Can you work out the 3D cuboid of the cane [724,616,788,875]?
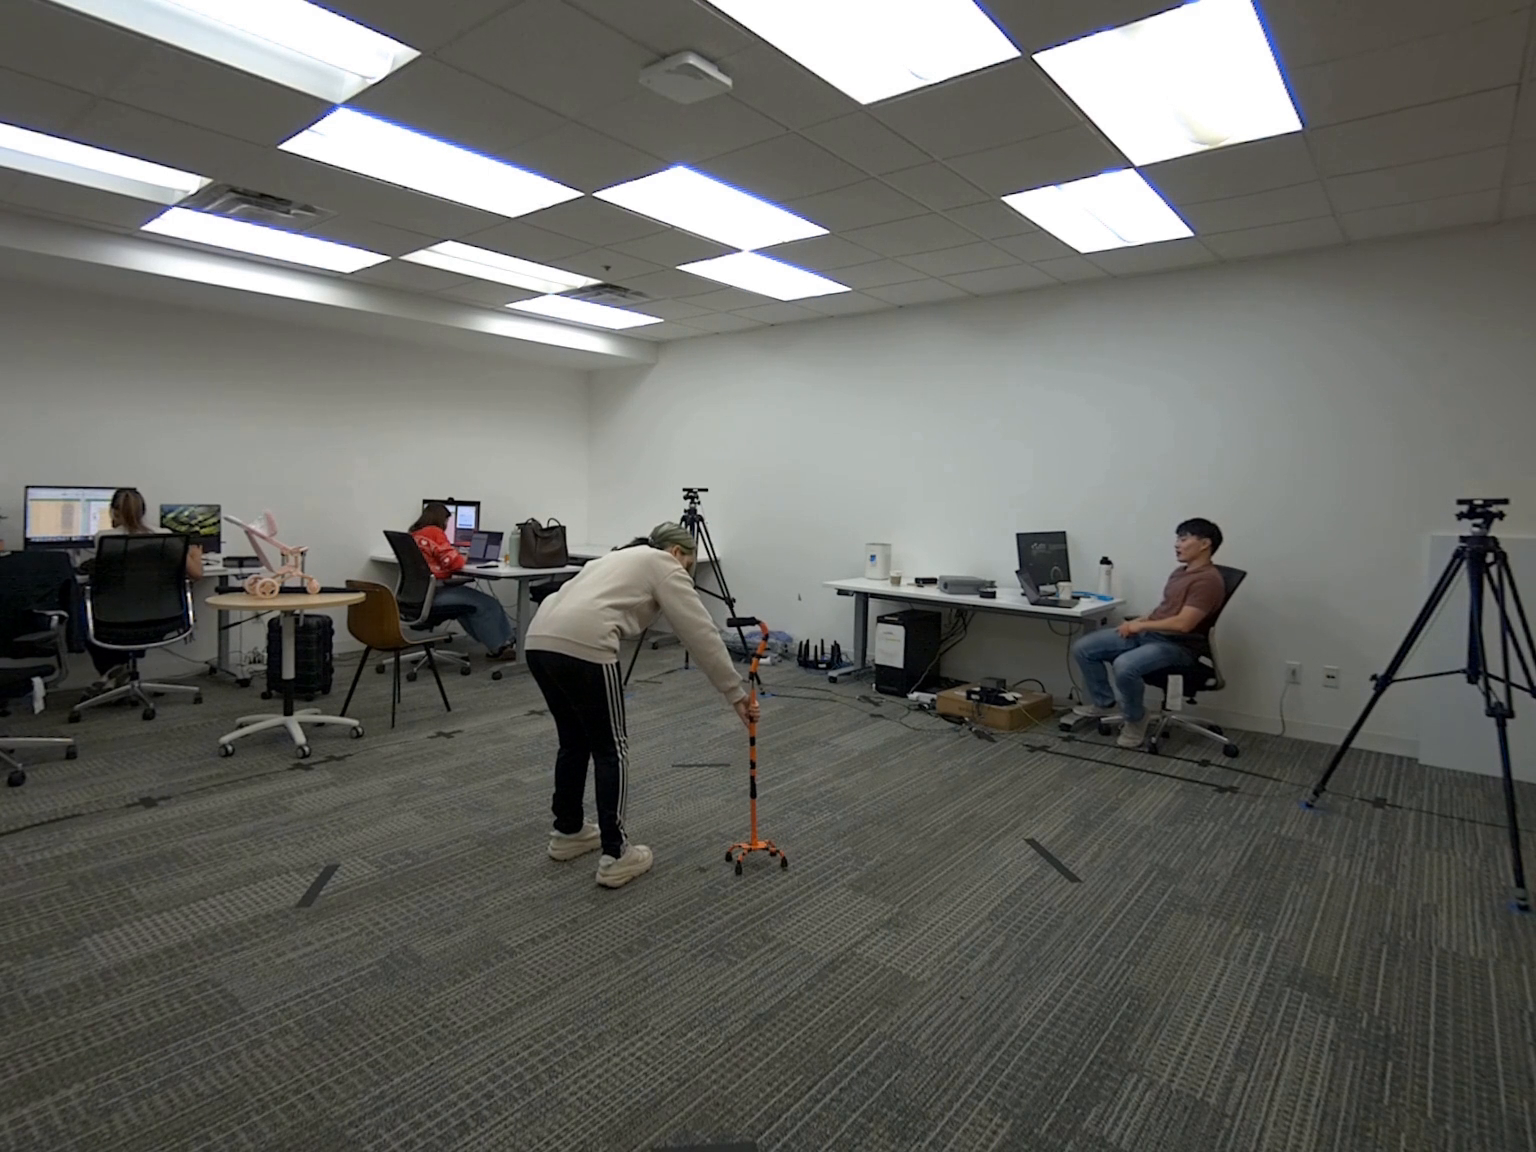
[{"bbox_3d":[-0.055,0.616,3.163,0.203,0.908,0.154,0,0,-18],"label":"cane"}]
